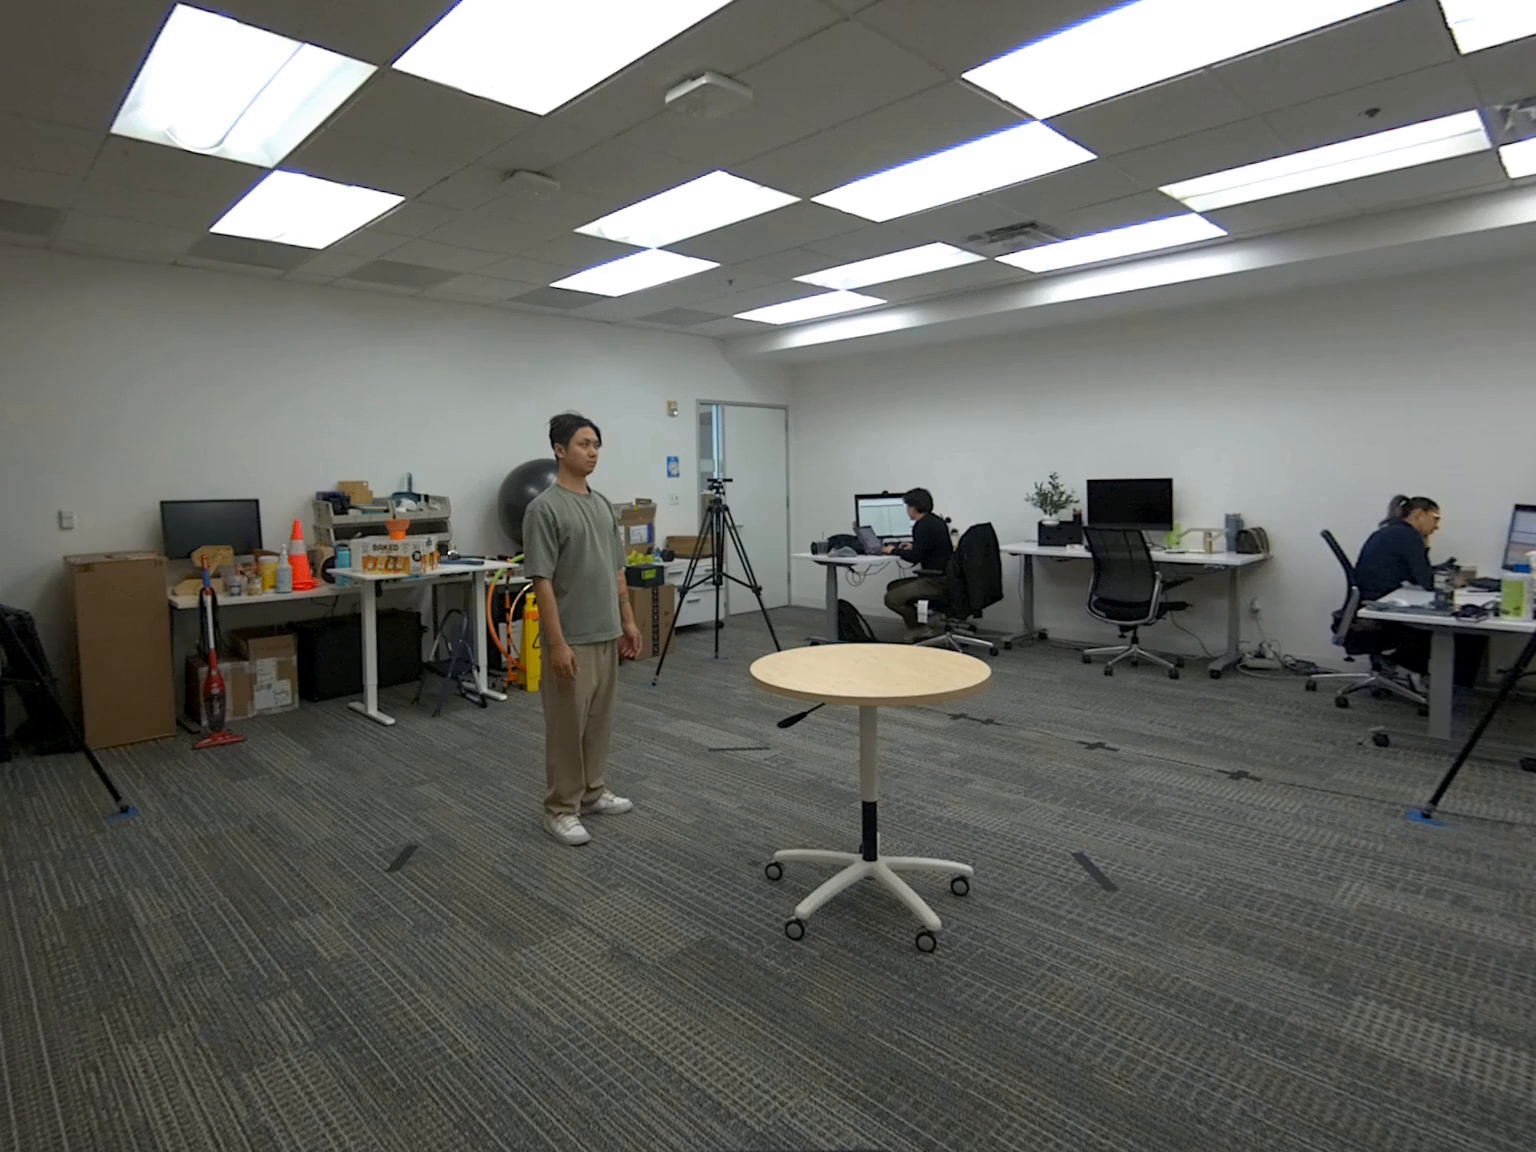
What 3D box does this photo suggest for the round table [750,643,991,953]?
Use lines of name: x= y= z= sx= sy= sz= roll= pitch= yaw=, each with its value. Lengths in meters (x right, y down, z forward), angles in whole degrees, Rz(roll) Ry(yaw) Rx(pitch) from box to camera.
round table: x=0.335 y=0.681 z=2.813 sx=0.784 sy=0.783 sz=0.789 roll=-1 pitch=5 yaw=-2
